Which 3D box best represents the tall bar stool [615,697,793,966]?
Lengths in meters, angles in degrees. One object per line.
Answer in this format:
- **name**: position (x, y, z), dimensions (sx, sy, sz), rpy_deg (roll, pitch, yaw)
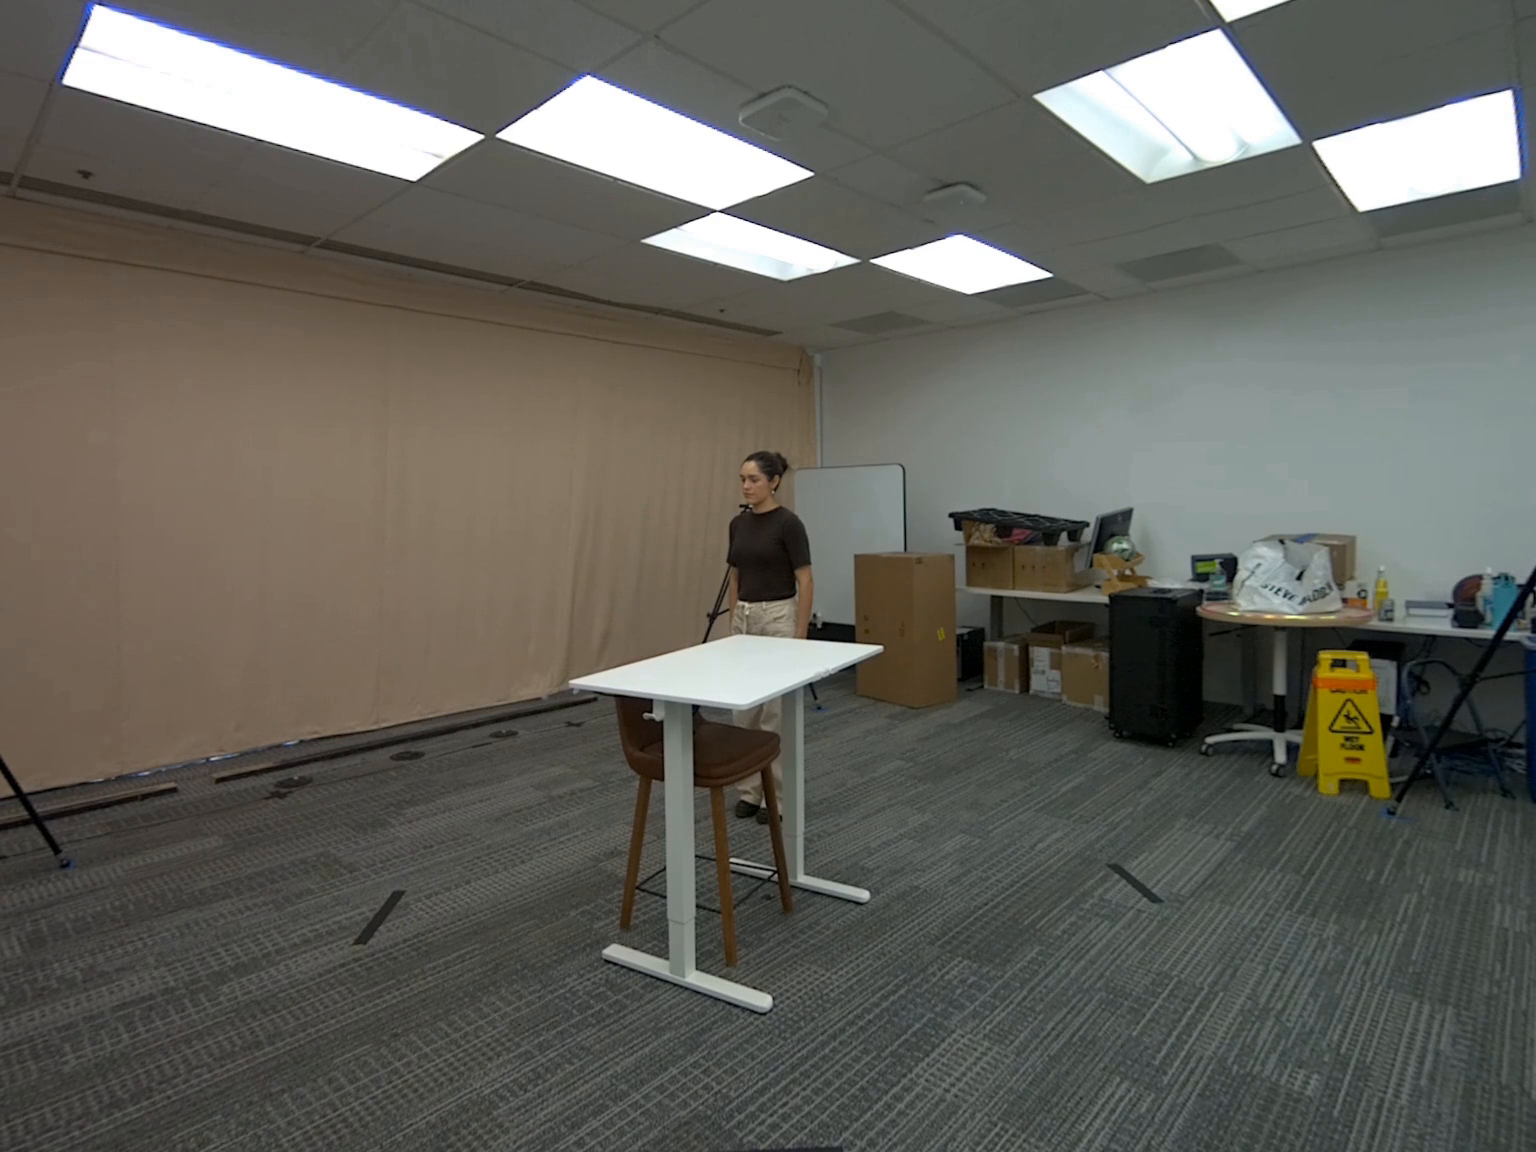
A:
- **tall bar stool**: position (-0.221, 0.726, 2.805), dimensions (0.481, 0.888, 0.444), rpy_deg (-1, 2, 31)
